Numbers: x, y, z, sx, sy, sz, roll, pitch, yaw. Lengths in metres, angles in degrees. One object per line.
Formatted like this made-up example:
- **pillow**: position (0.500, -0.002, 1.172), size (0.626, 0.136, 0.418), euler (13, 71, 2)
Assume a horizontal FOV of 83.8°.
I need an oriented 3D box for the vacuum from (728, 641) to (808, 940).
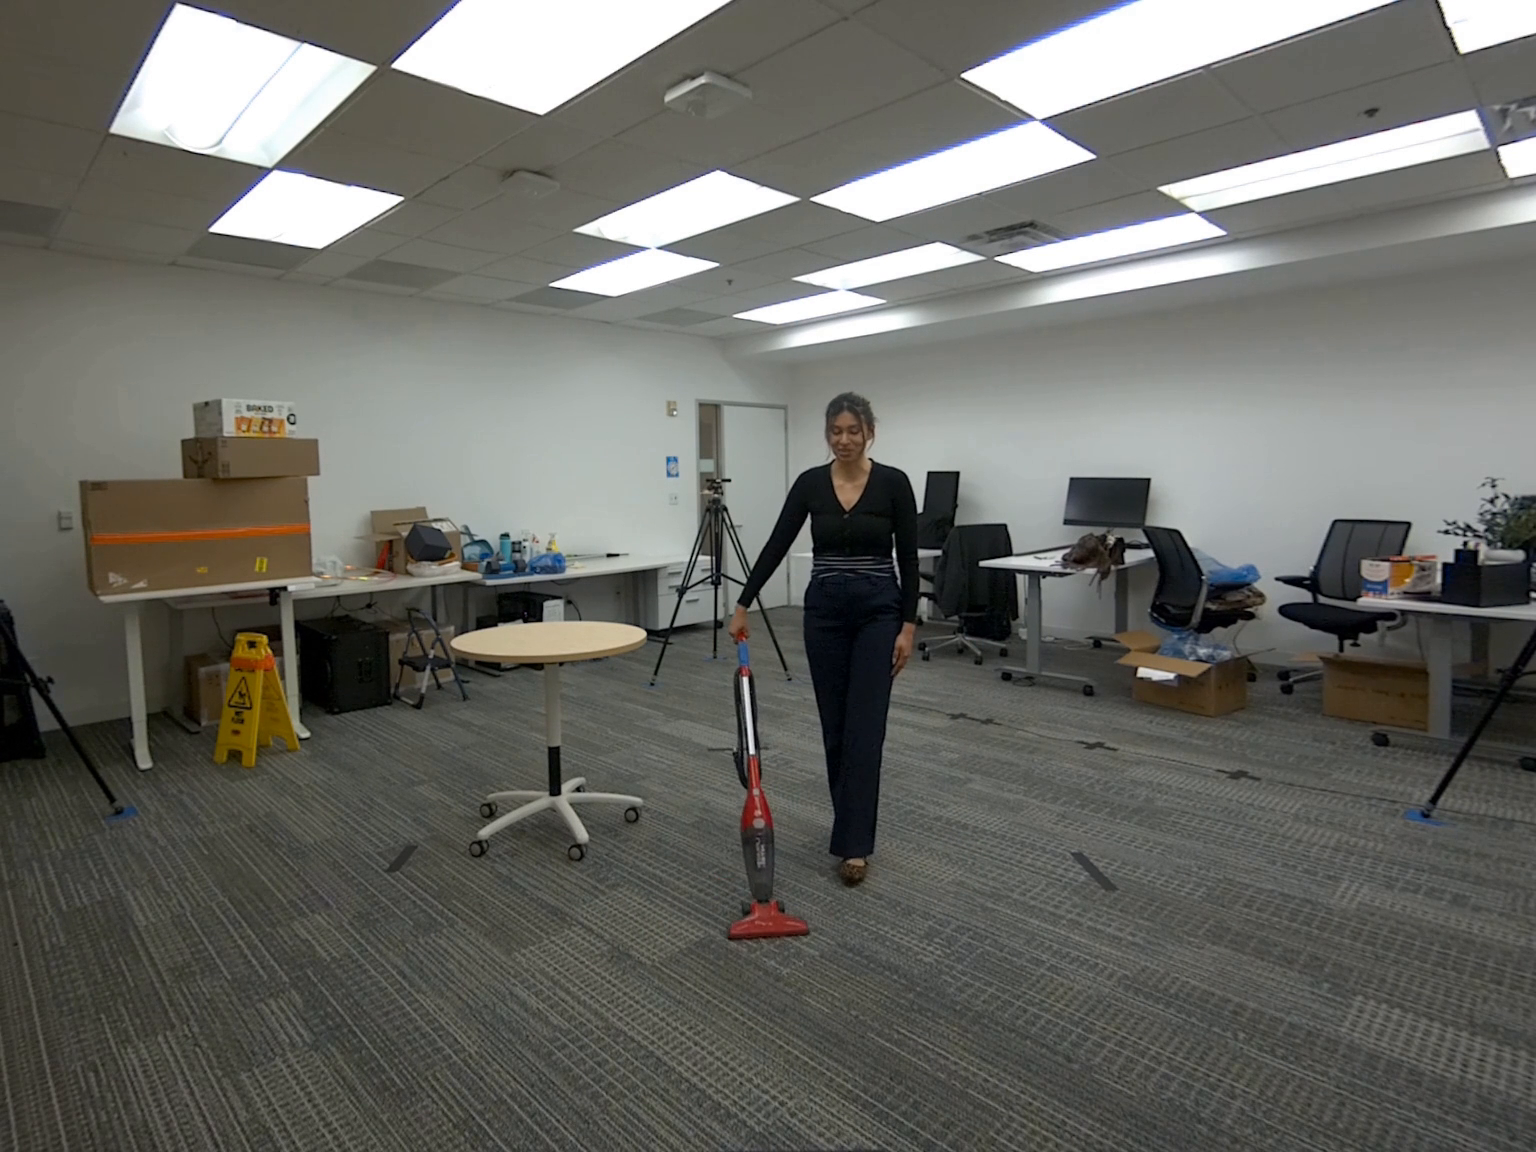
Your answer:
- **vacuum**: position (-0.054, 0.647, 2.965), size (0.252, 1.080, 0.140), euler (-4, -35, -5)
